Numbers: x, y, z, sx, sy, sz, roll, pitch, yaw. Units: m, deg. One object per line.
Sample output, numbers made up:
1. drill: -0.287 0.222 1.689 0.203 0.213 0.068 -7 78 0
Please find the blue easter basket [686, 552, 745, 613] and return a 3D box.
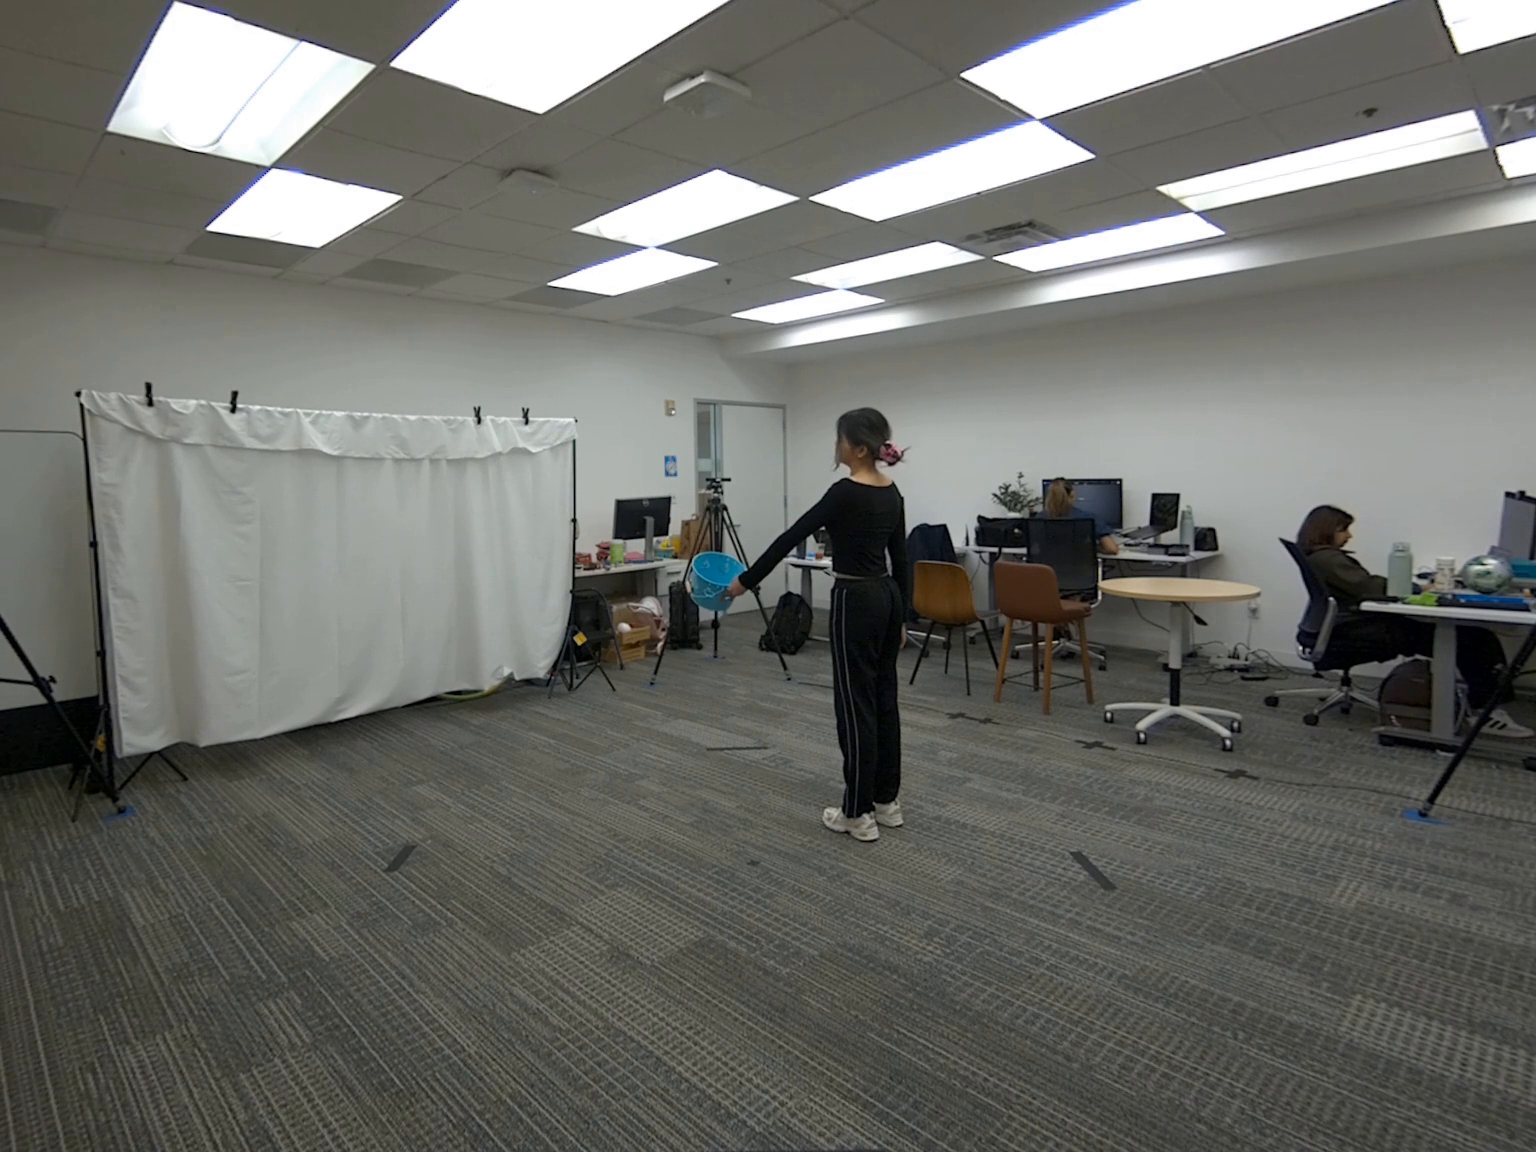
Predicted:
1. blue easter basket: -0.212 0.033 3.537 0.241 0.153 0.250 10 34 -8
